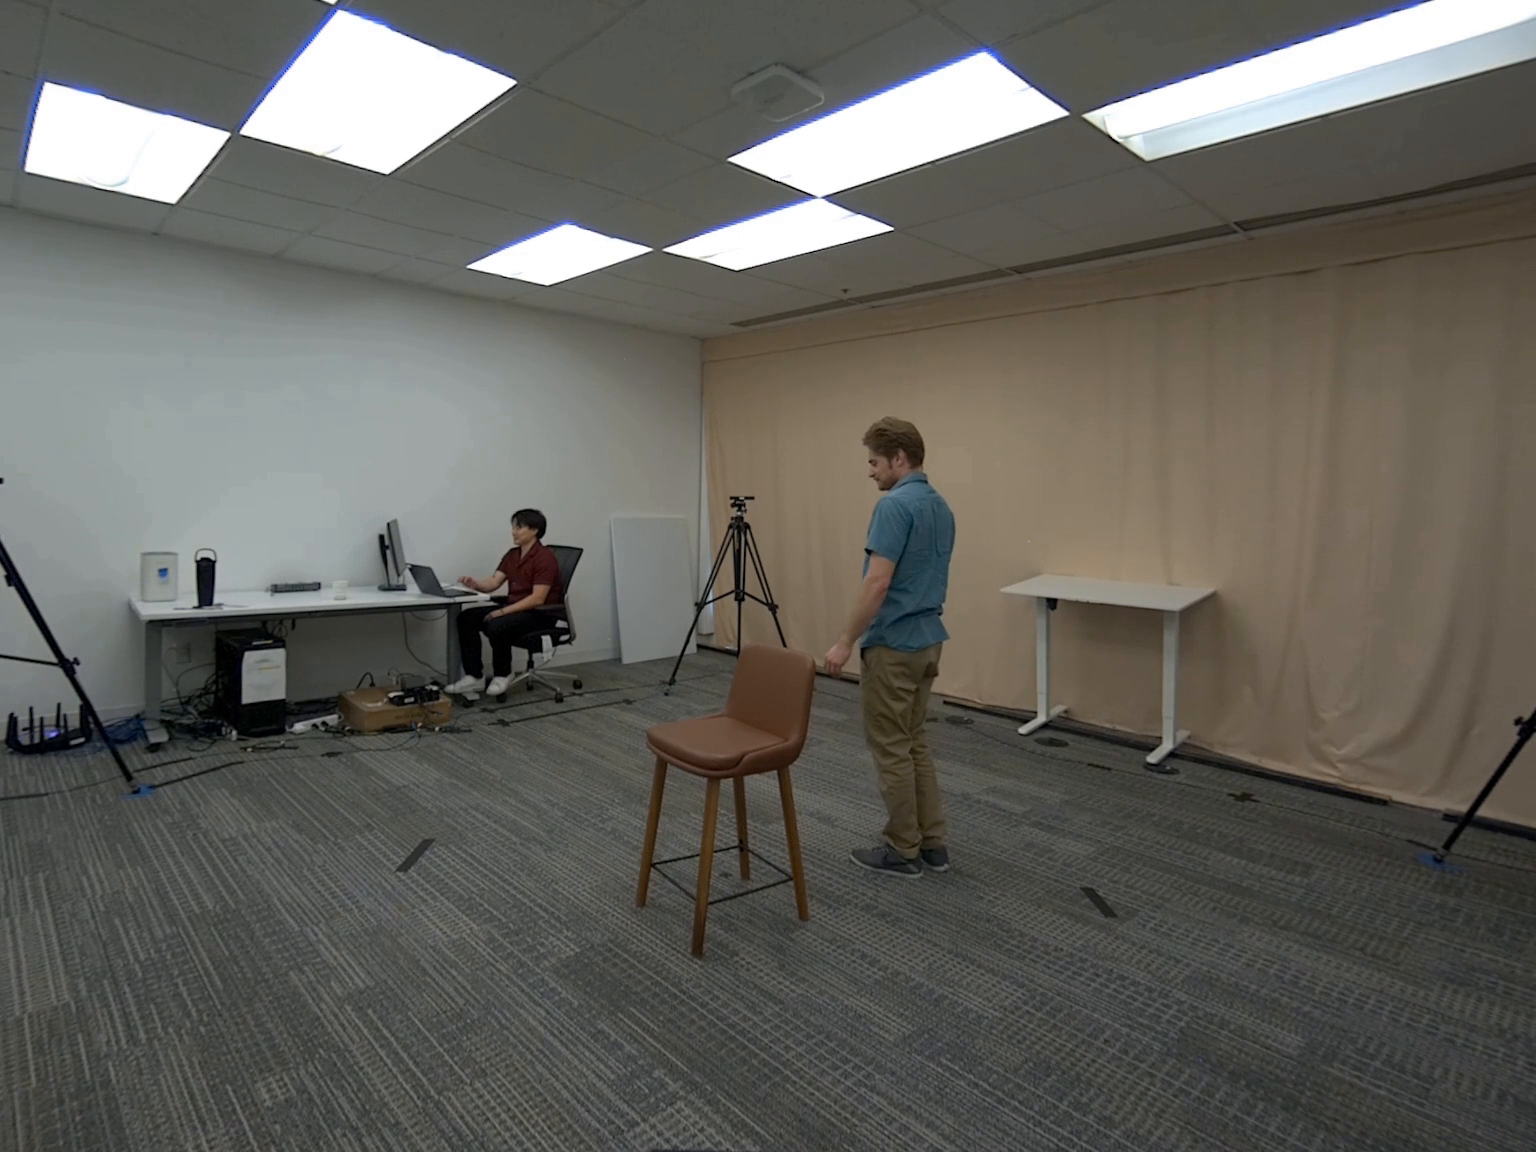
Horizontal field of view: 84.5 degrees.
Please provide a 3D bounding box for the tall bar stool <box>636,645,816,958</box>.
[{"bbox_3d":[-0.143,0.698,2.799,0.457,0.889,0.467,1,2,-35],"label":"tall bar stool"}]
